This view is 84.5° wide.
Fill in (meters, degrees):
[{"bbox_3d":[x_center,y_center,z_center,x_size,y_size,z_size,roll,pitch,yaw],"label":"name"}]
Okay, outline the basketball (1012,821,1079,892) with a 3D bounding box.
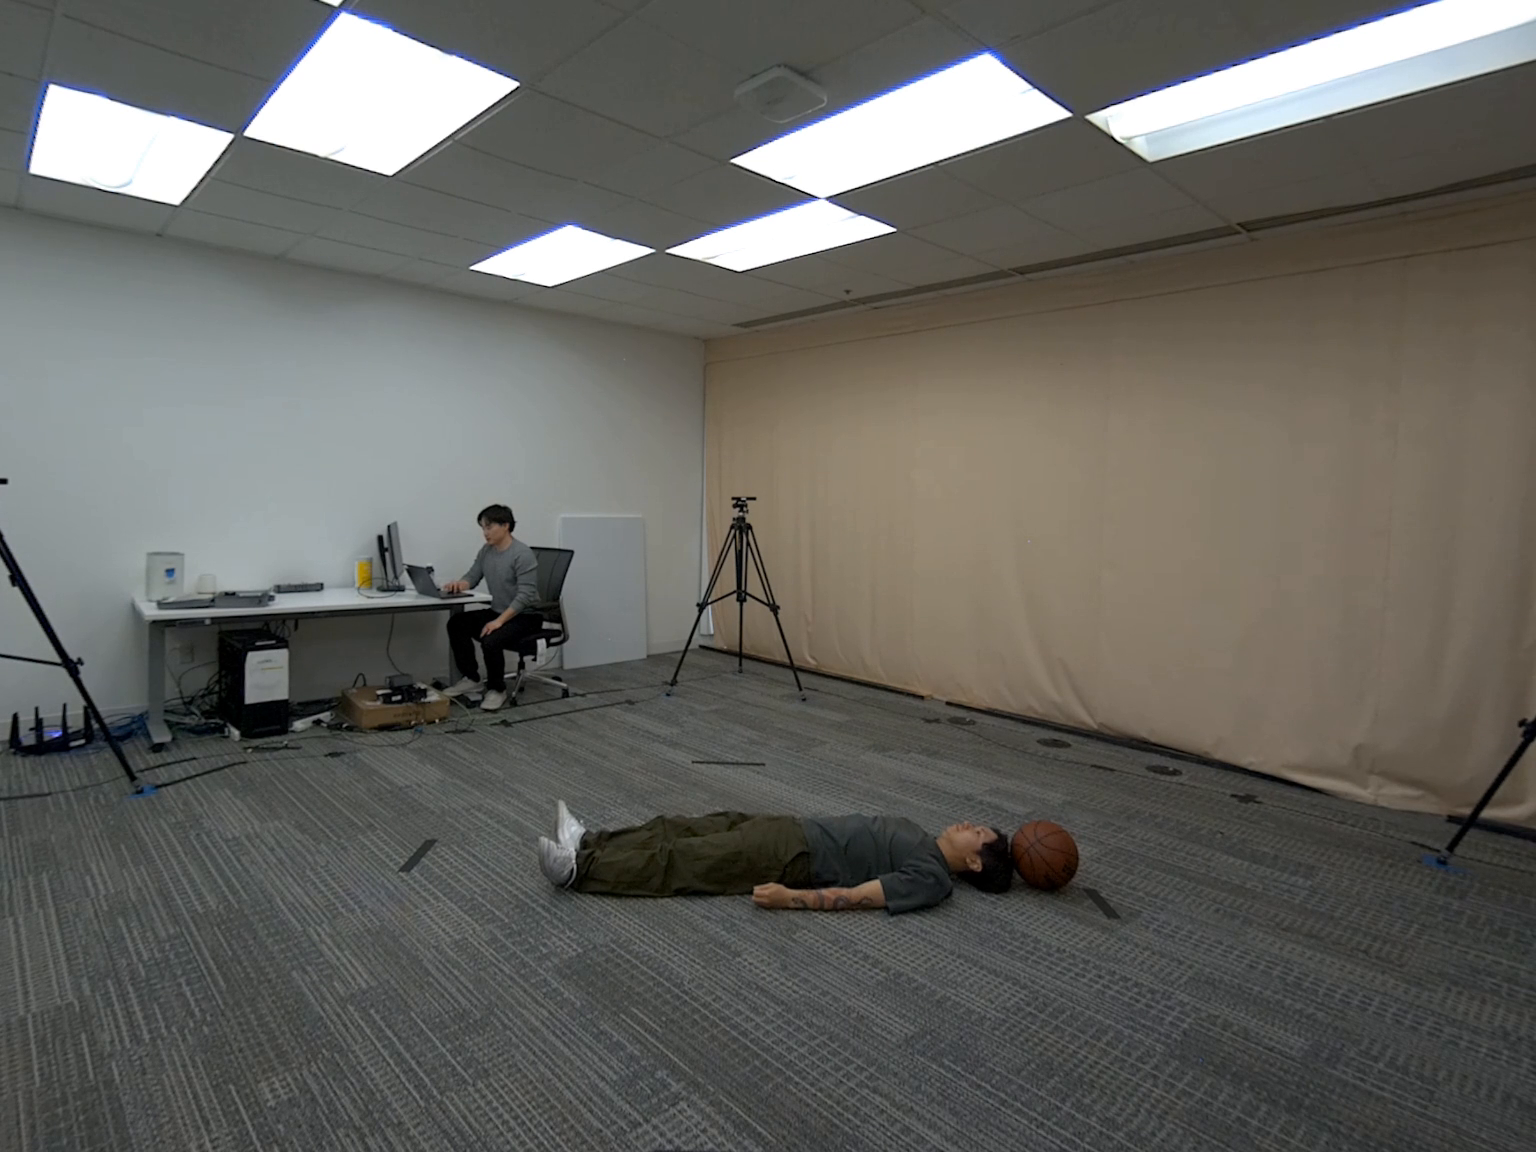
[{"bbox_3d":[1.003,1.018,3.091,0.236,0.235,0.237,1,4,-1],"label":"basketball"}]
